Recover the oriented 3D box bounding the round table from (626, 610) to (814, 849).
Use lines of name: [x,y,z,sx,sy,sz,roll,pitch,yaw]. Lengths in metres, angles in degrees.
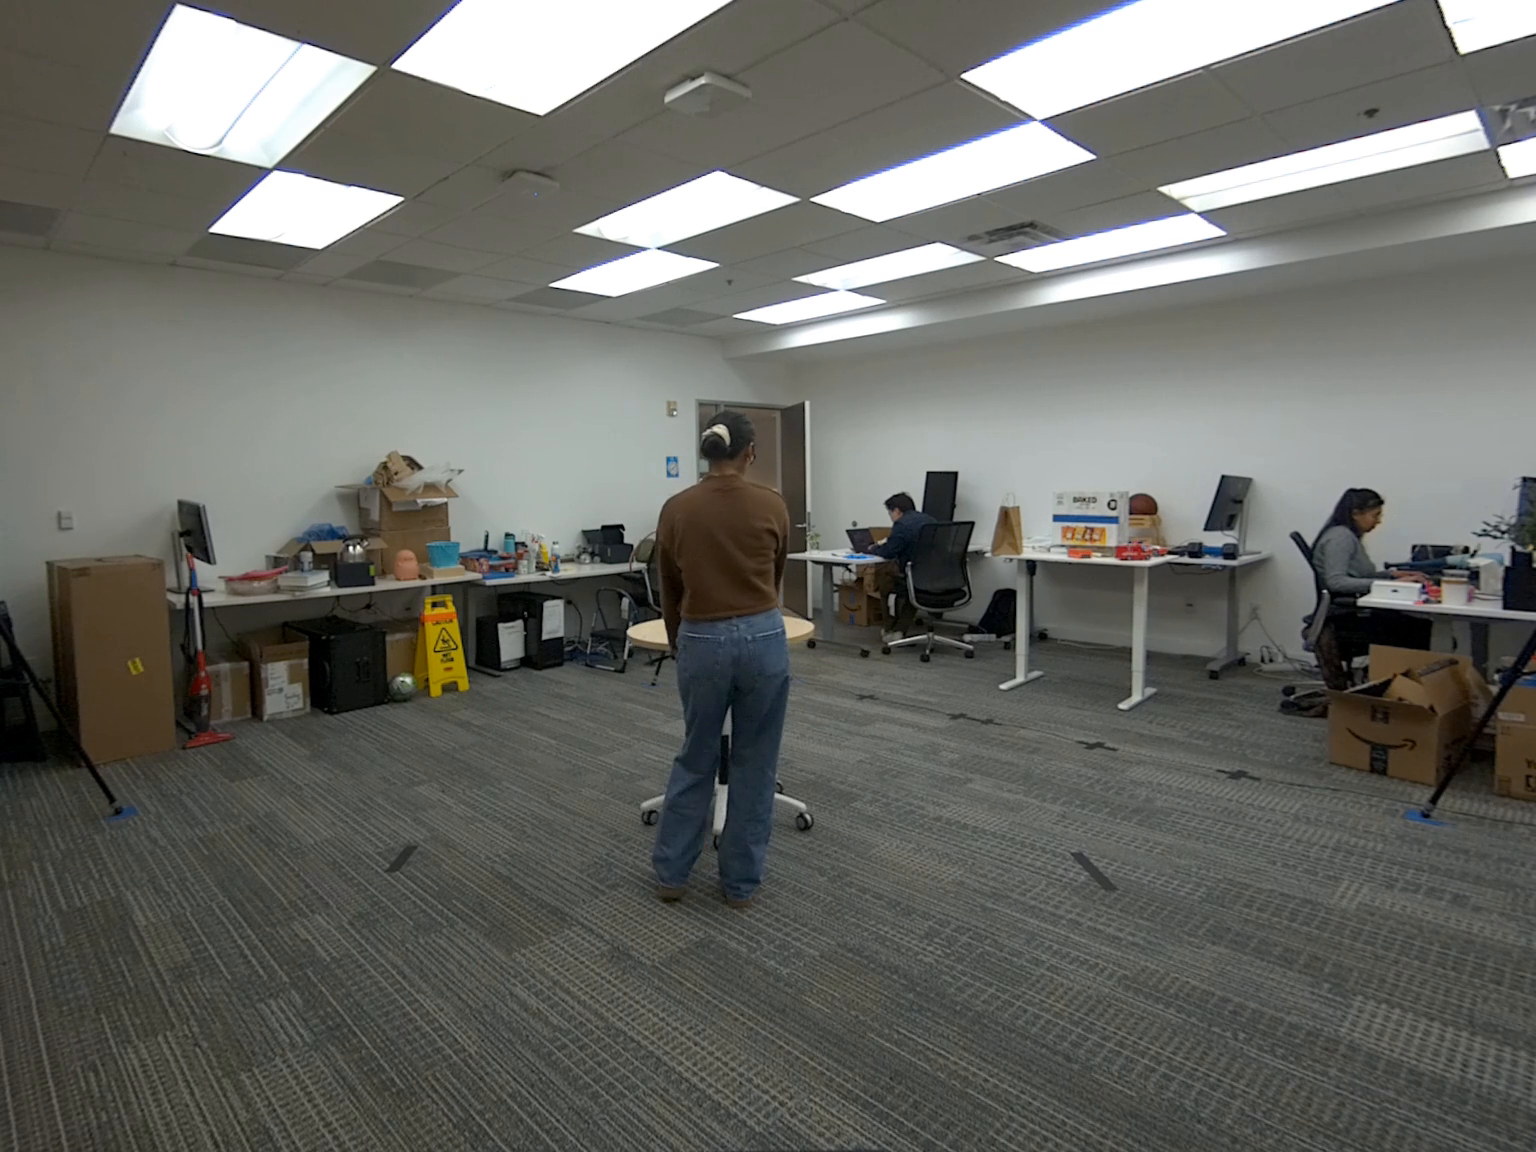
round table: [-0.162,0.605,3.505,0.784,0.783,0.789,-1,5,-2]
